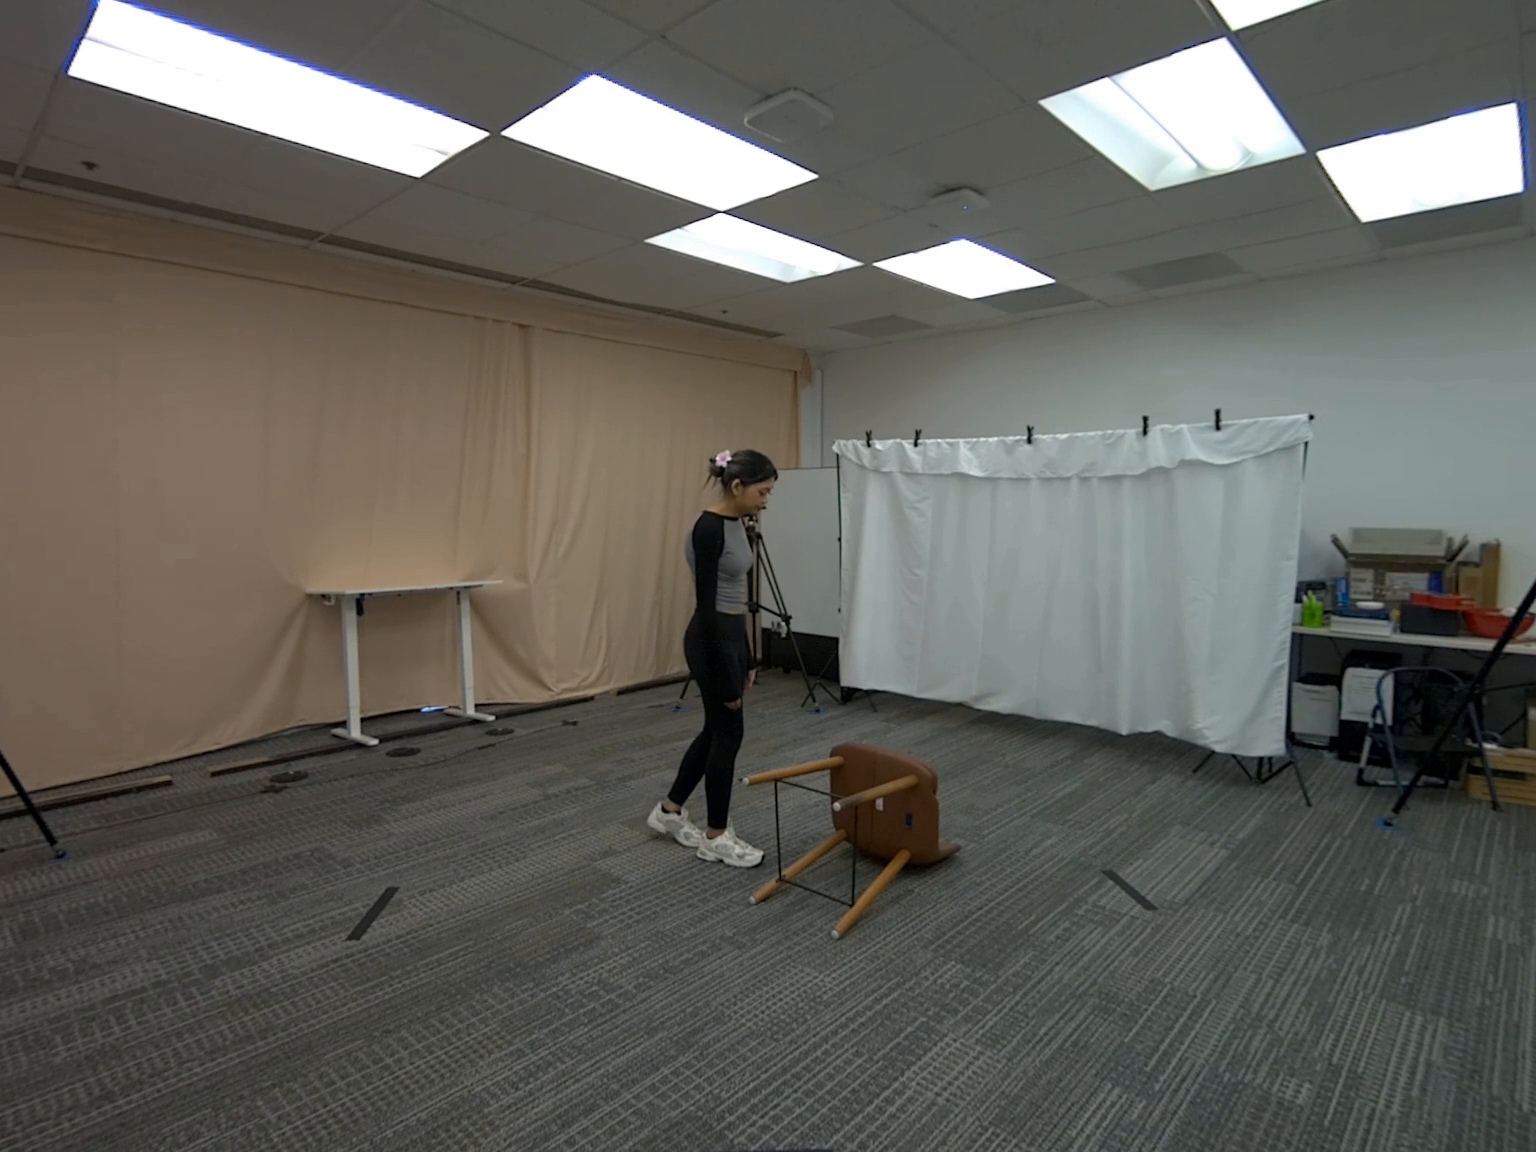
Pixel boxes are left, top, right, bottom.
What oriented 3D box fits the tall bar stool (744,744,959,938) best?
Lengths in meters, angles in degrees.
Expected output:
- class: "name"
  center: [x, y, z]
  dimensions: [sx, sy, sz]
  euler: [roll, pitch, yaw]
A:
- class: "tall bar stool"
  center: [0.352, 0.901, 3.124]
  dimensions: [0.471, 0.466, 0.863]
  euler: [3, 5, 41]
